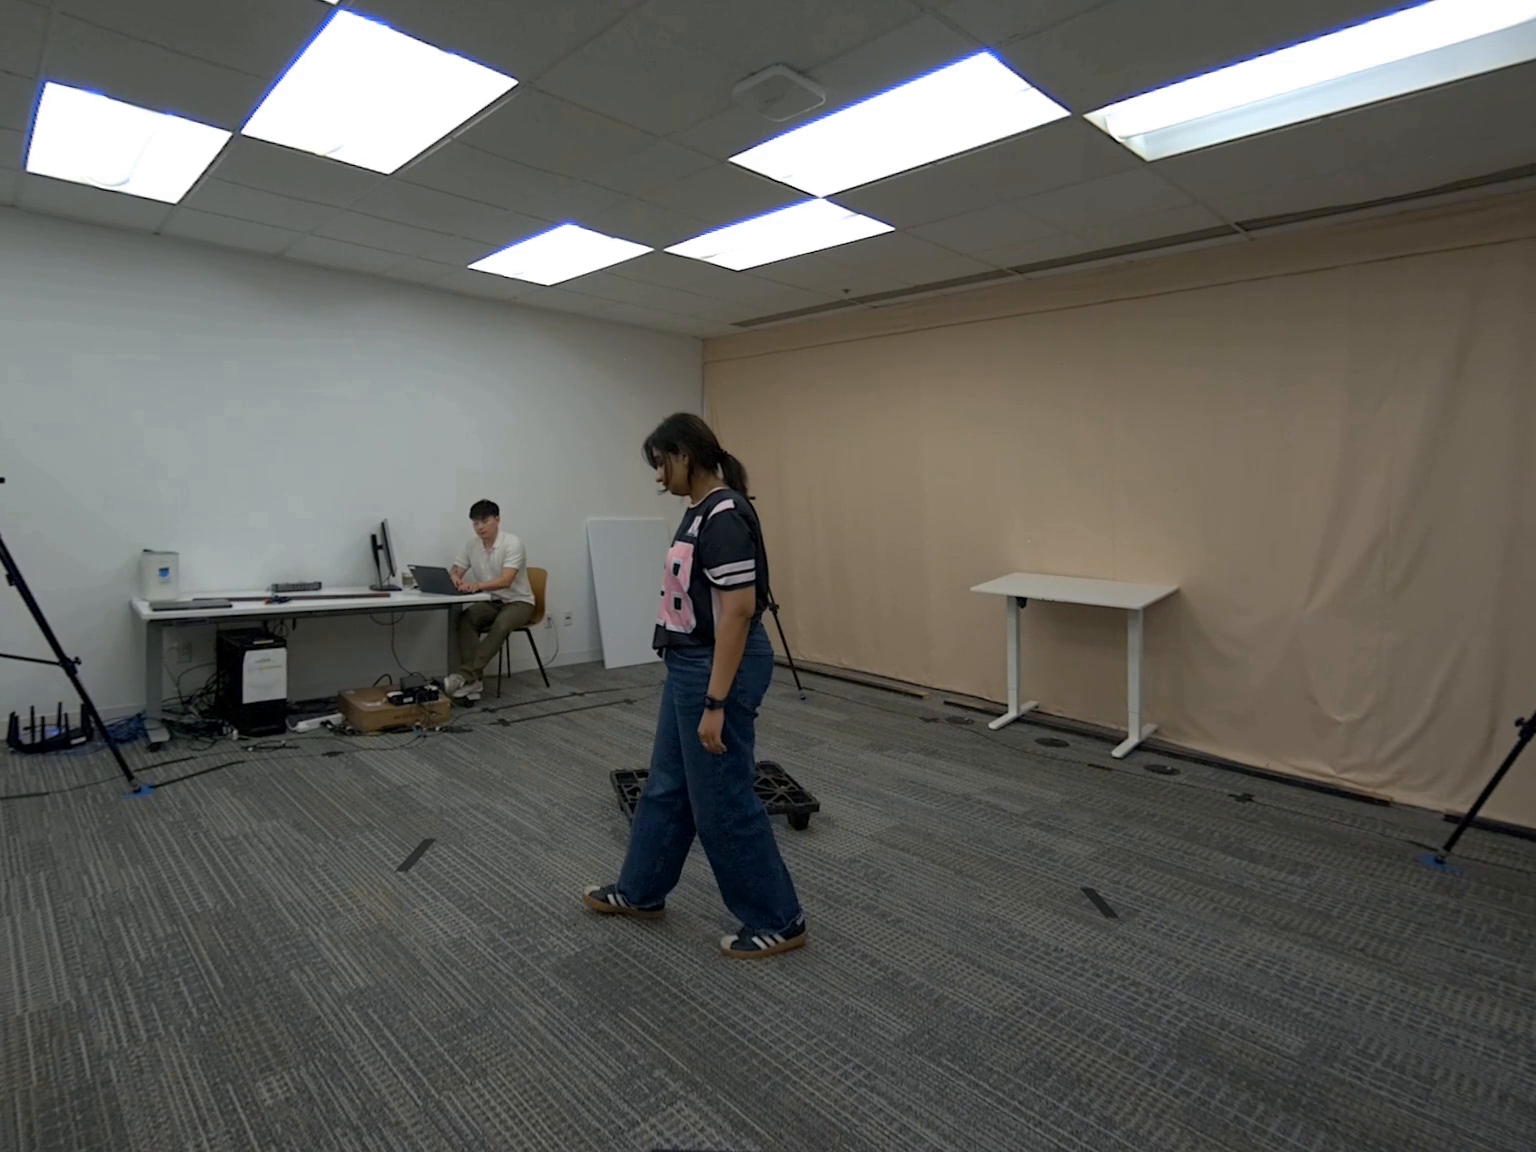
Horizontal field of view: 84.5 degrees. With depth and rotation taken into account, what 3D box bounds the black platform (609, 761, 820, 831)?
[{"bbox_3d":[-0.257,0.985,3.675,0.795,0.143,0.615,0,6,-17],"label":"black platform"}]
